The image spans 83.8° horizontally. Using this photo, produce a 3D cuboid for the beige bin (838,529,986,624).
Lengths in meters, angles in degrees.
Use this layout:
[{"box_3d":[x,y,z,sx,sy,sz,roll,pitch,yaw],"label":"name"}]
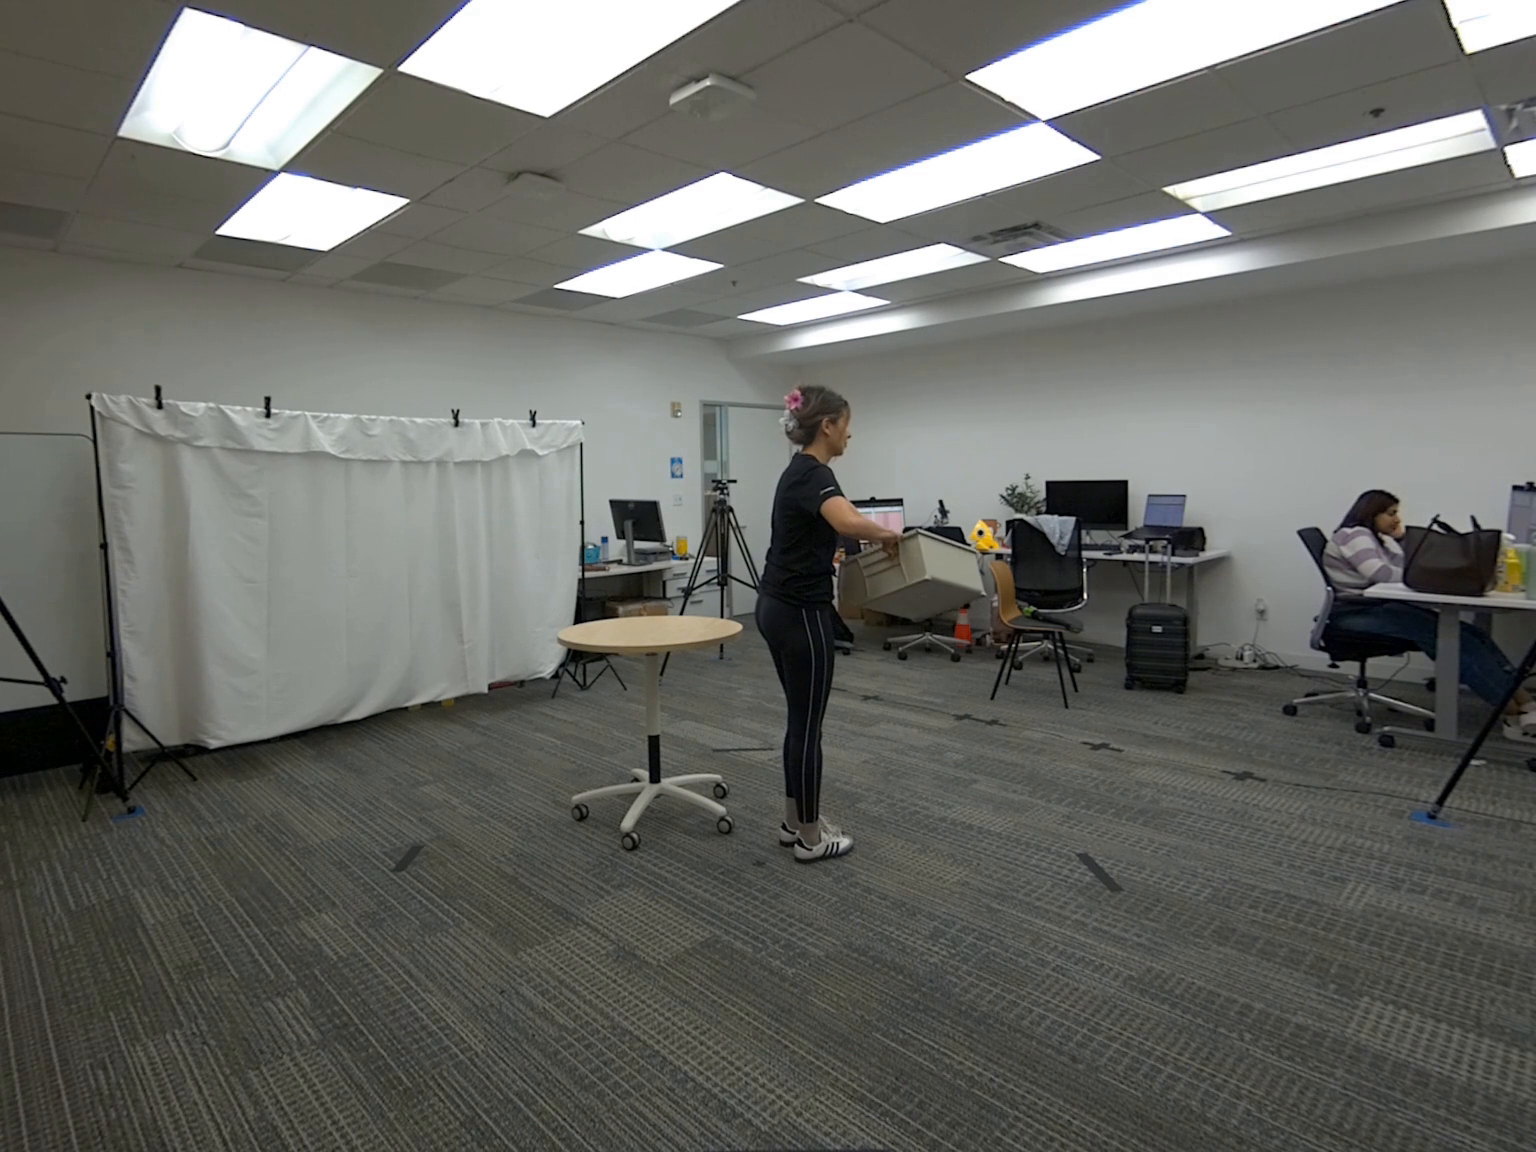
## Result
[{"box_3d":[0.524,0.025,3.138,0.383,0.193,0.407,-24,-27,39],"label":"beige bin"}]
